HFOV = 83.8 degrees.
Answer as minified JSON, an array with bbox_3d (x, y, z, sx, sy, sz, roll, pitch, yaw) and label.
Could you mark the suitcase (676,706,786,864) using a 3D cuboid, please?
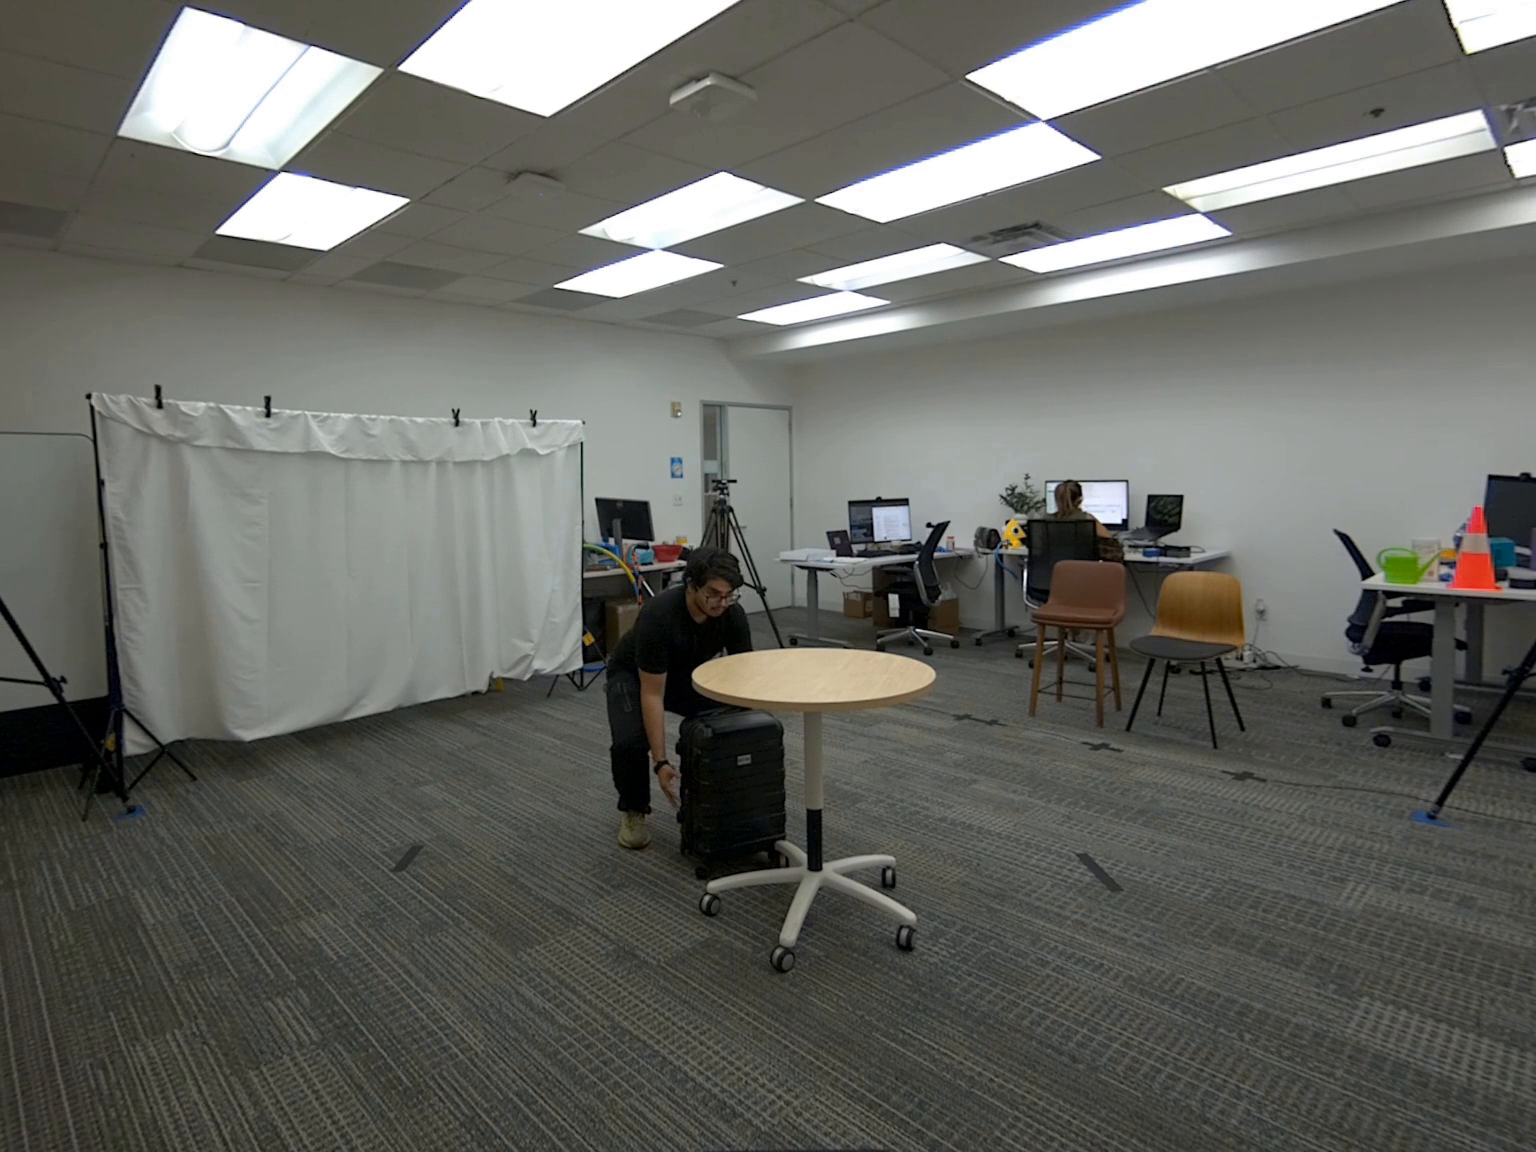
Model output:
[{"bbox_3d":[-0.134,0.767,3.139,0.368,0.547,0.254,-4,5,-25],"label":"suitcase"}]
